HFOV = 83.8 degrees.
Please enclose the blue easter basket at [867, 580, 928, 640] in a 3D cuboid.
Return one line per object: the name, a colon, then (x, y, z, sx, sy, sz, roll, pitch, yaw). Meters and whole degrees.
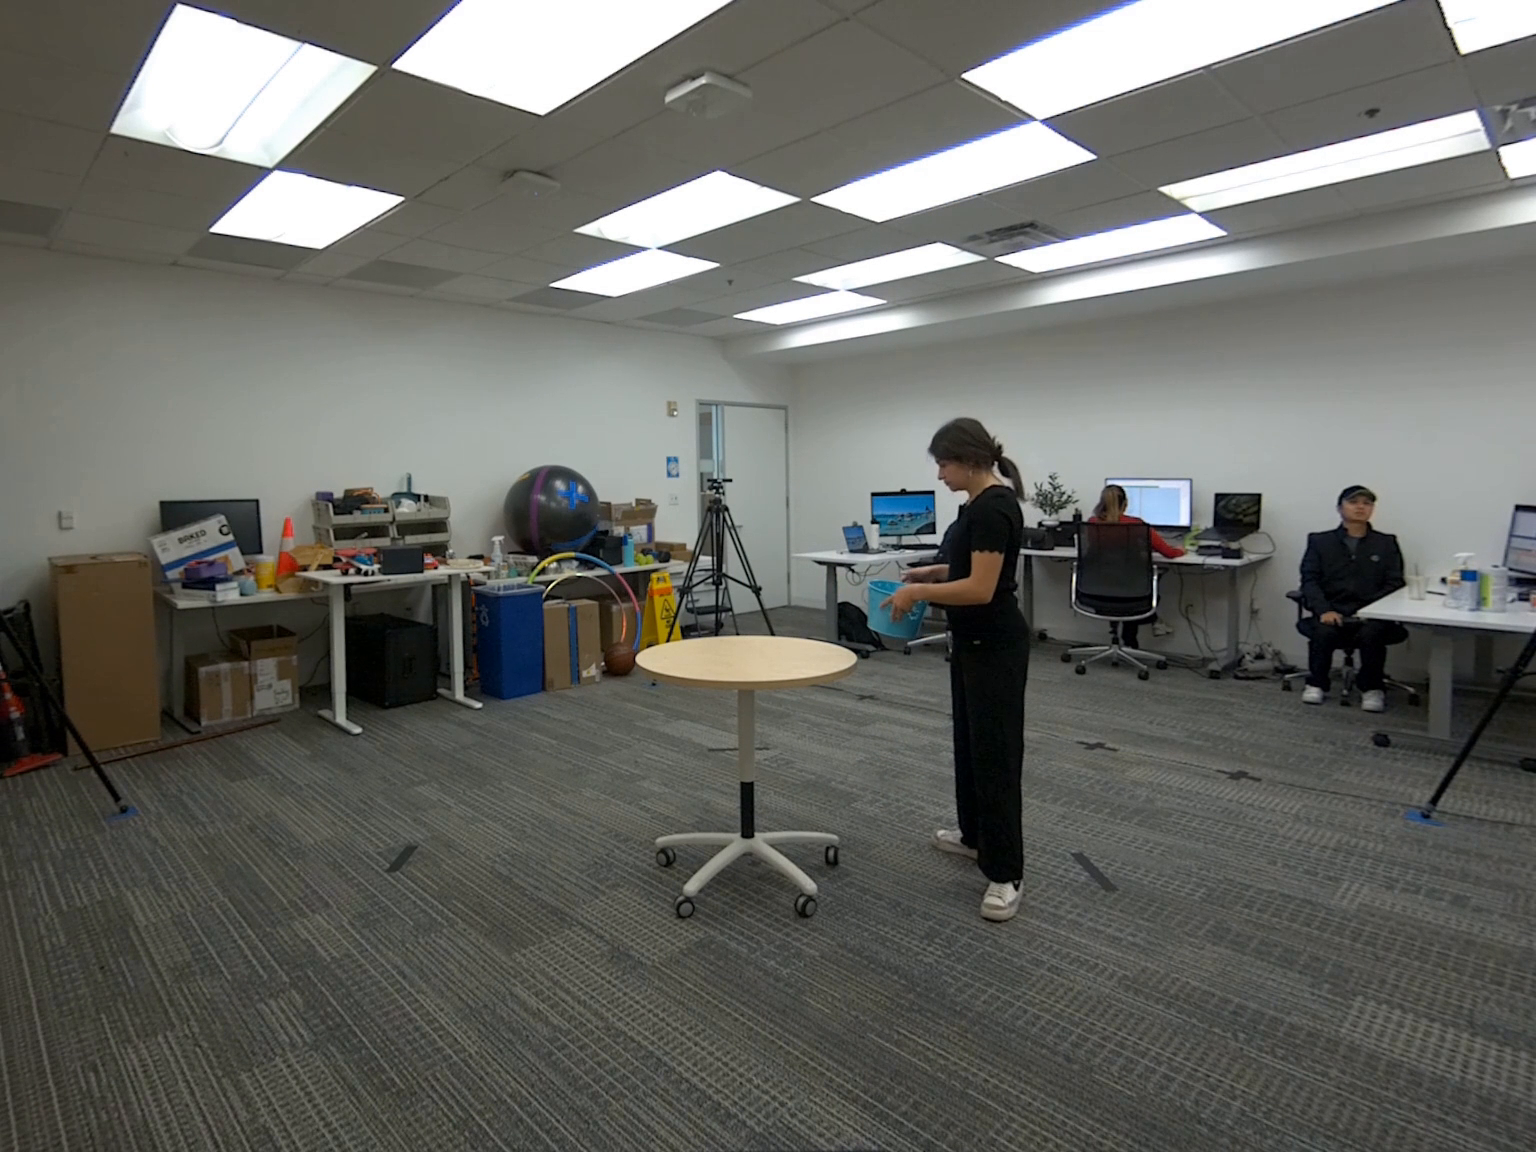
blue easter basket: (0.471, 0.119, 3.019, 0.243, 0.155, 0.246, 6, 10, -3)
